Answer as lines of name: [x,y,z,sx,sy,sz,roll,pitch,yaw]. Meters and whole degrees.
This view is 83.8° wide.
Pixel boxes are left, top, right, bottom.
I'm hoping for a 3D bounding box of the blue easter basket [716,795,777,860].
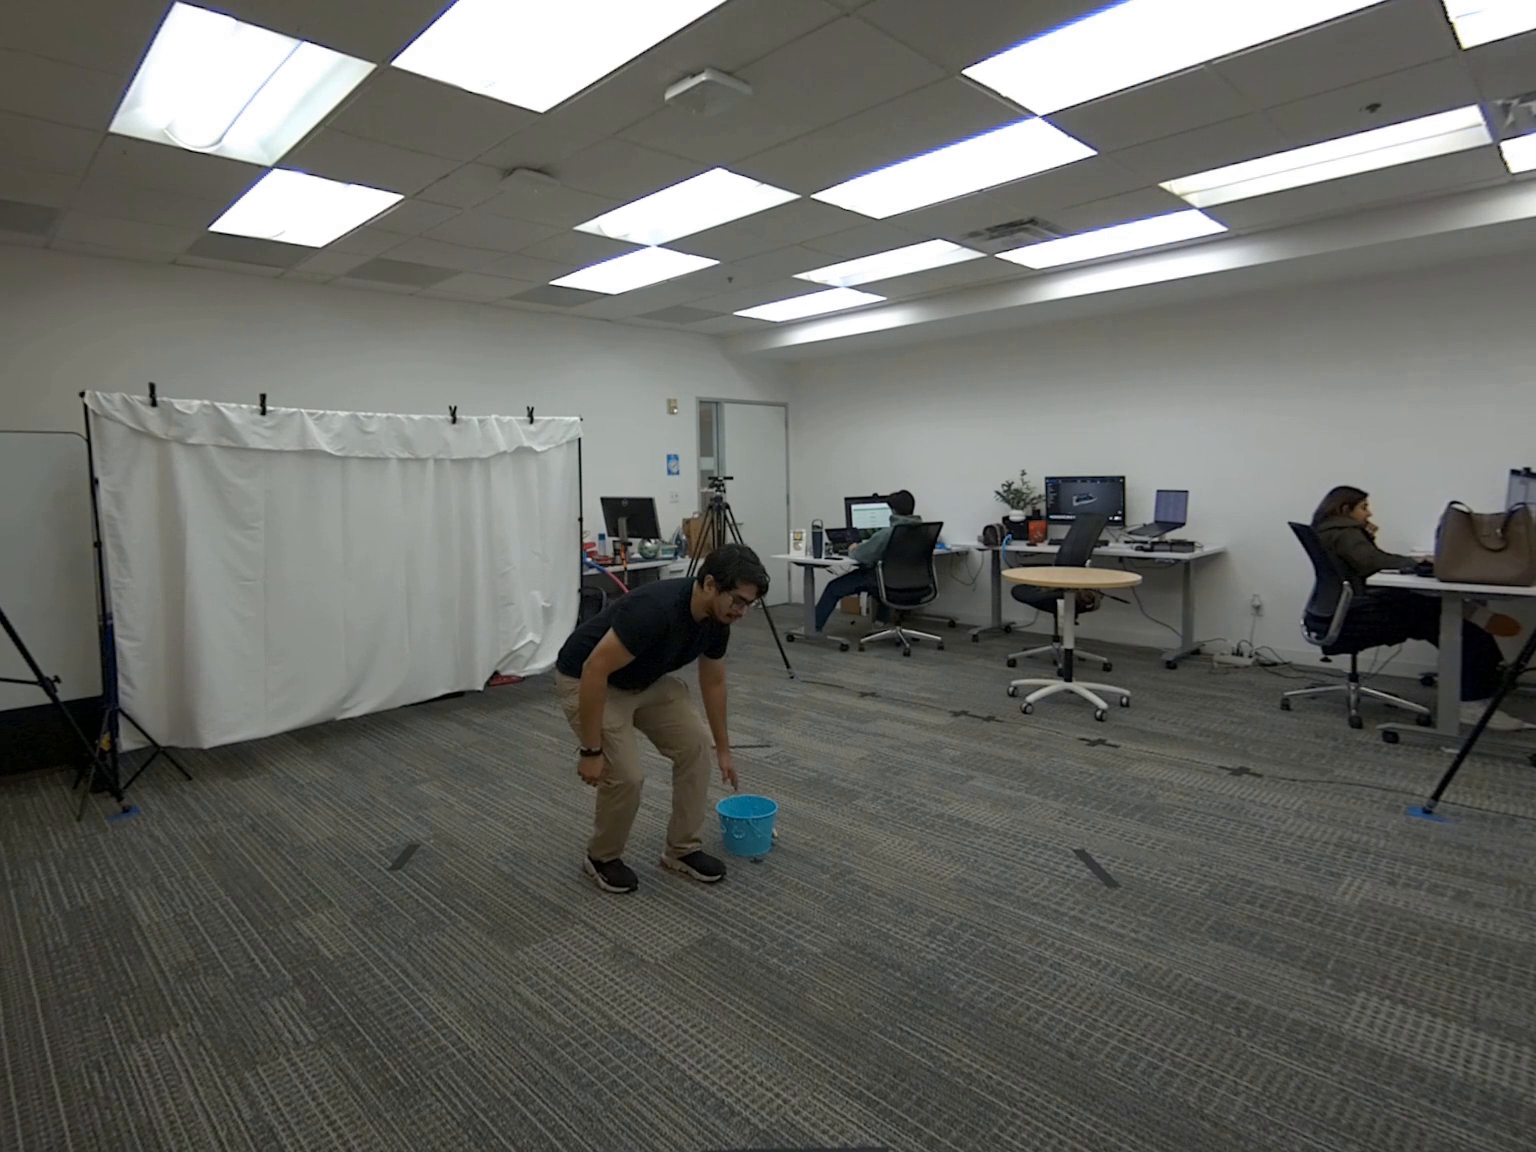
blue easter basket: [-0.070,0.943,3.229,0.243,0.155,0.245,-1,6,-2]
